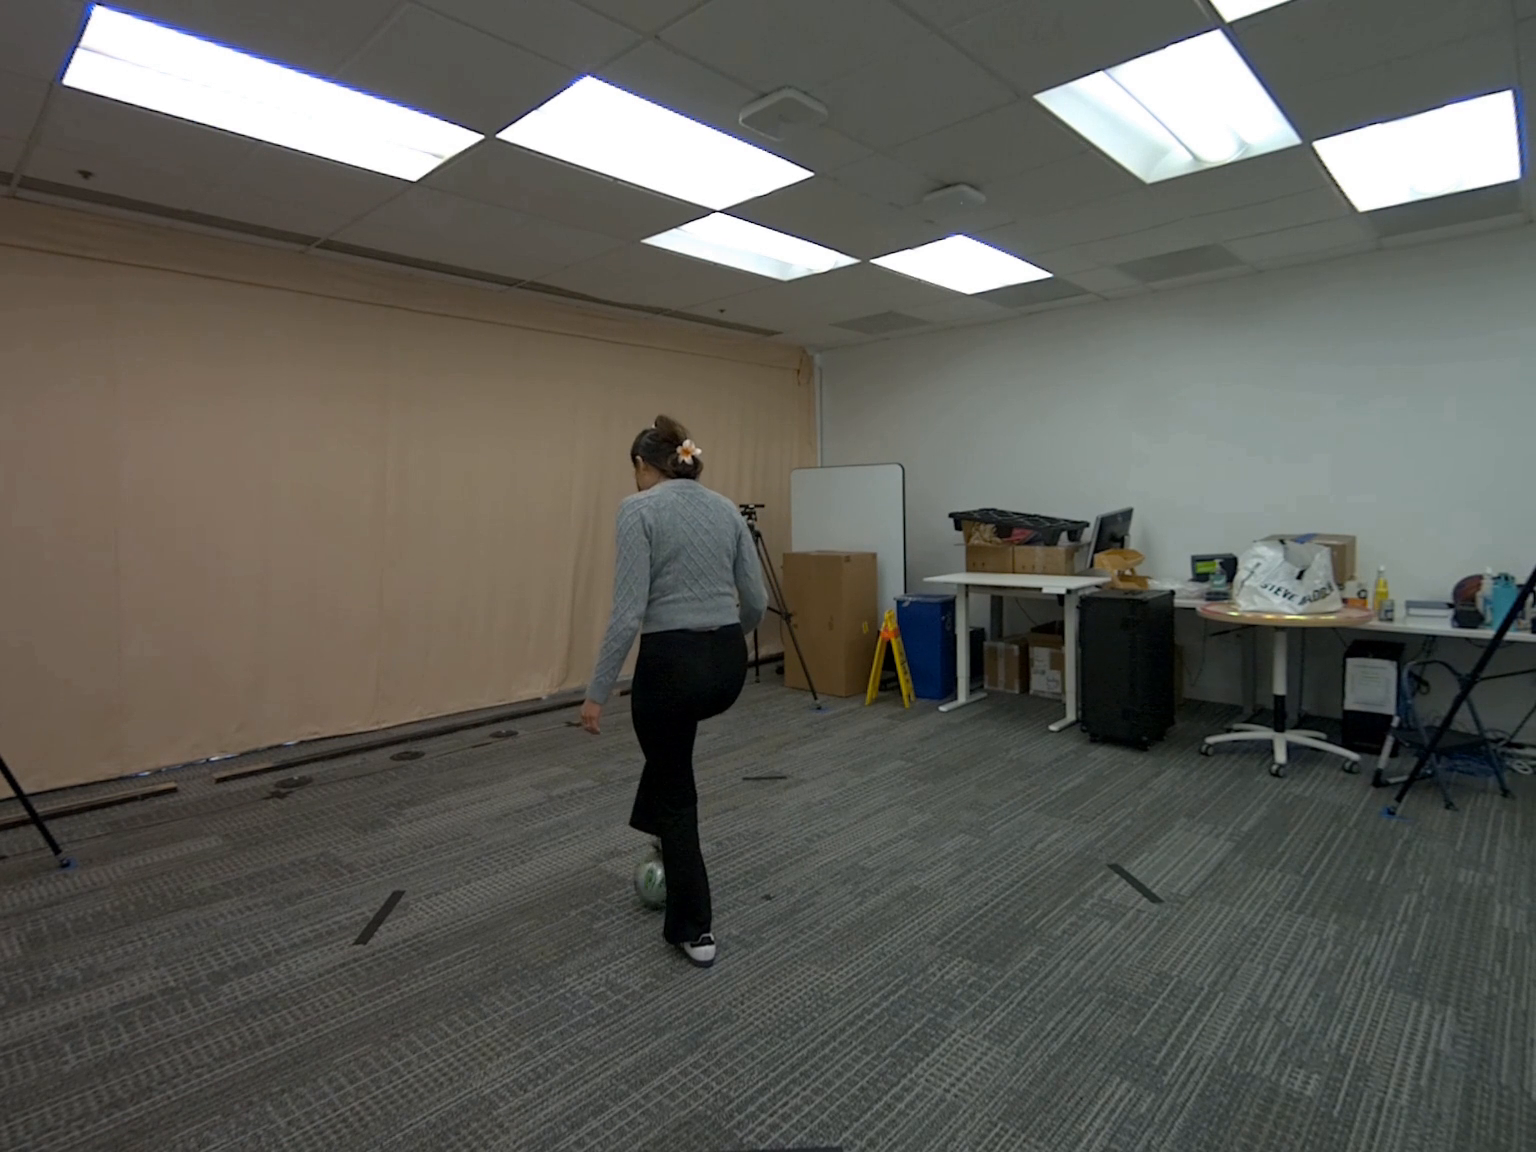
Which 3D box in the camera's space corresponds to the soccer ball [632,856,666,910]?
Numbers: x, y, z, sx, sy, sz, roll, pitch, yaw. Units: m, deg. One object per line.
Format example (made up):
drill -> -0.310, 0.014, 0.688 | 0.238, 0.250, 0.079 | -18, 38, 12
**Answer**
soccer ball -> -0.367, 1.060, 2.946 | 0.187, 0.187, 0.188 | -1, 4, -2
